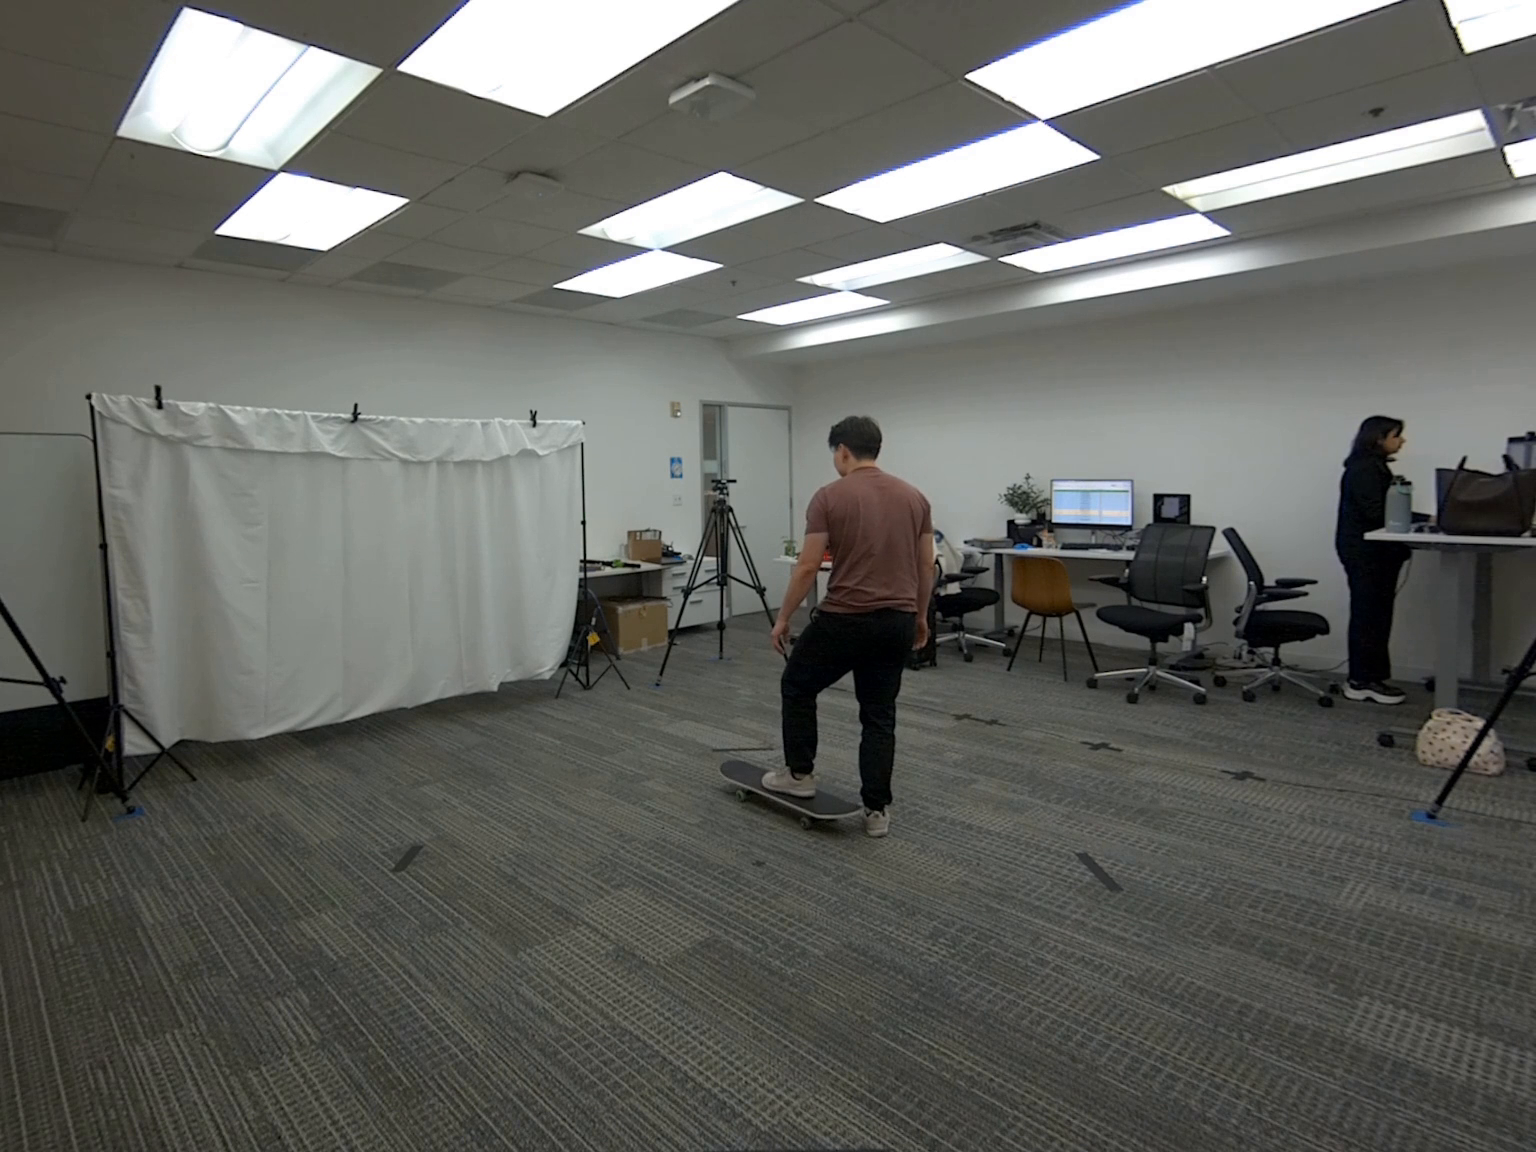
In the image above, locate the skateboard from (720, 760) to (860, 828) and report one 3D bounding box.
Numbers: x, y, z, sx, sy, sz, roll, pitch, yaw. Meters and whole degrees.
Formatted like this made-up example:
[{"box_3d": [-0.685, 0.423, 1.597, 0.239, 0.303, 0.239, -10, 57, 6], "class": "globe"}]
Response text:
[{"box_3d": [0.081, 0.937, 3.612, 0.188, 0.110, 0.810, -6, 8, -40], "class": "skateboard"}]
